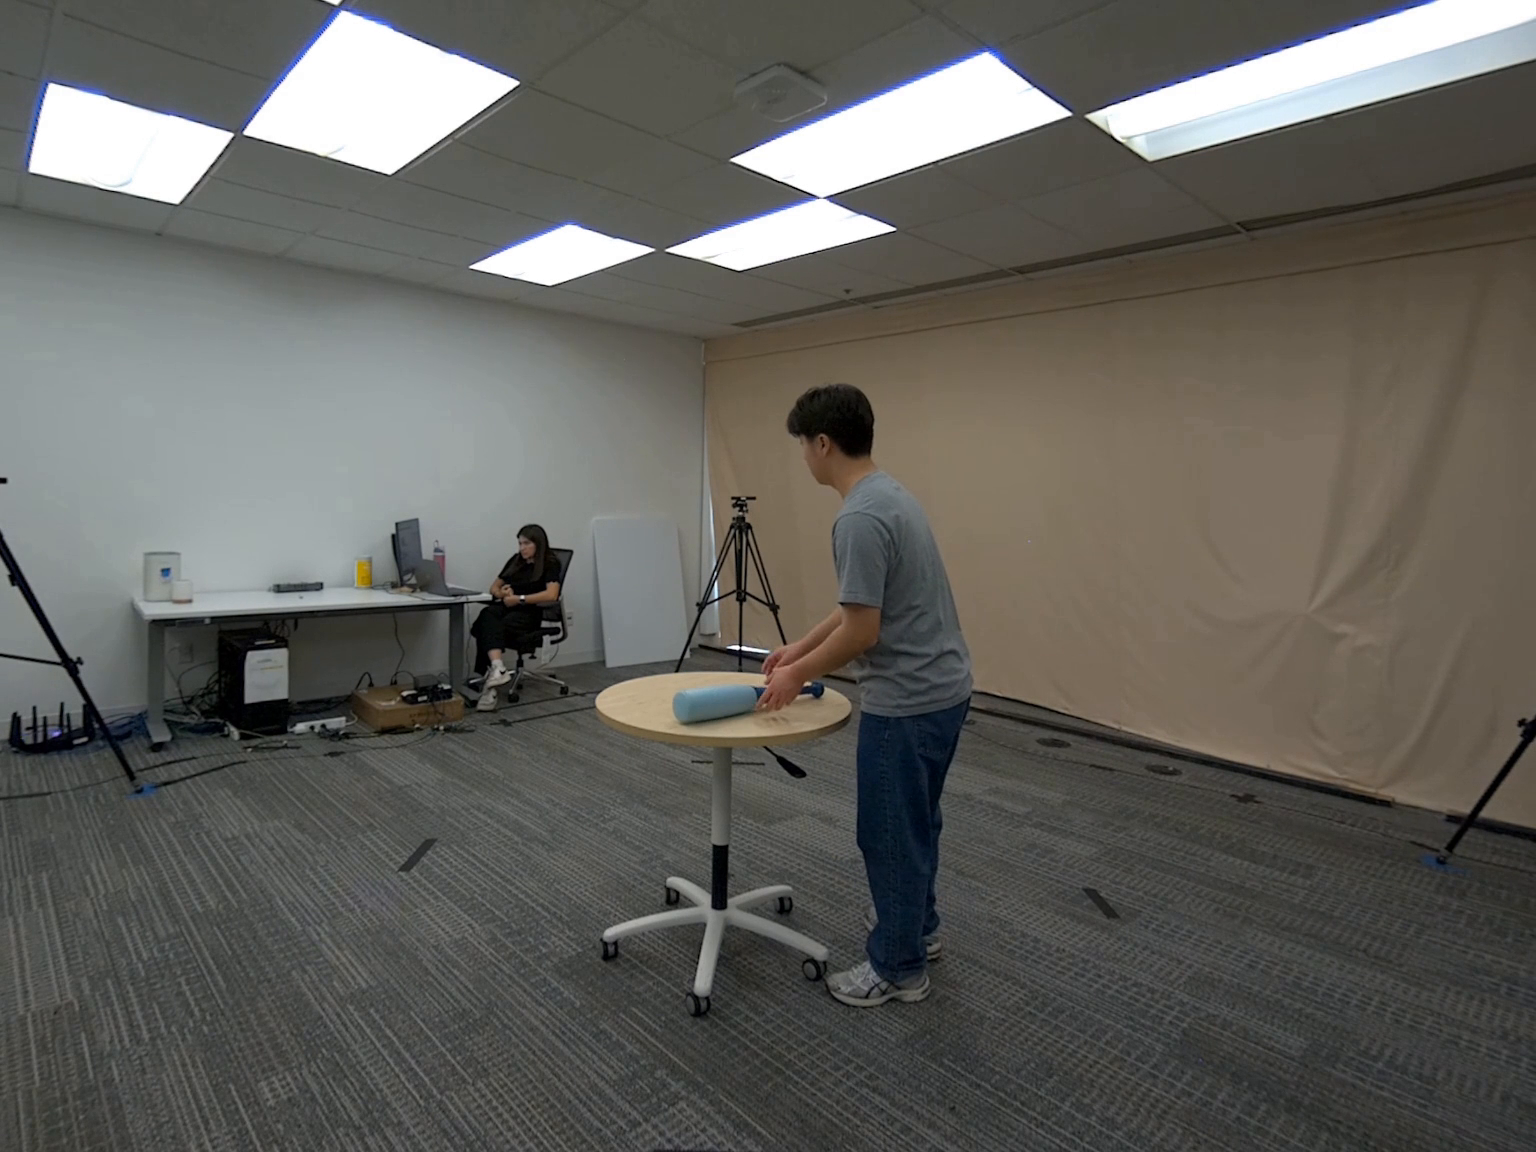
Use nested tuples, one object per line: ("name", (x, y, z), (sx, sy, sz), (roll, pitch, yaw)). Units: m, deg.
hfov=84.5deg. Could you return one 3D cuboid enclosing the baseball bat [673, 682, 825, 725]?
("baseball bat", (-0.037, 0.353, 2.423), (0.530, 0.089, 0.091), (1, 4, -41))
